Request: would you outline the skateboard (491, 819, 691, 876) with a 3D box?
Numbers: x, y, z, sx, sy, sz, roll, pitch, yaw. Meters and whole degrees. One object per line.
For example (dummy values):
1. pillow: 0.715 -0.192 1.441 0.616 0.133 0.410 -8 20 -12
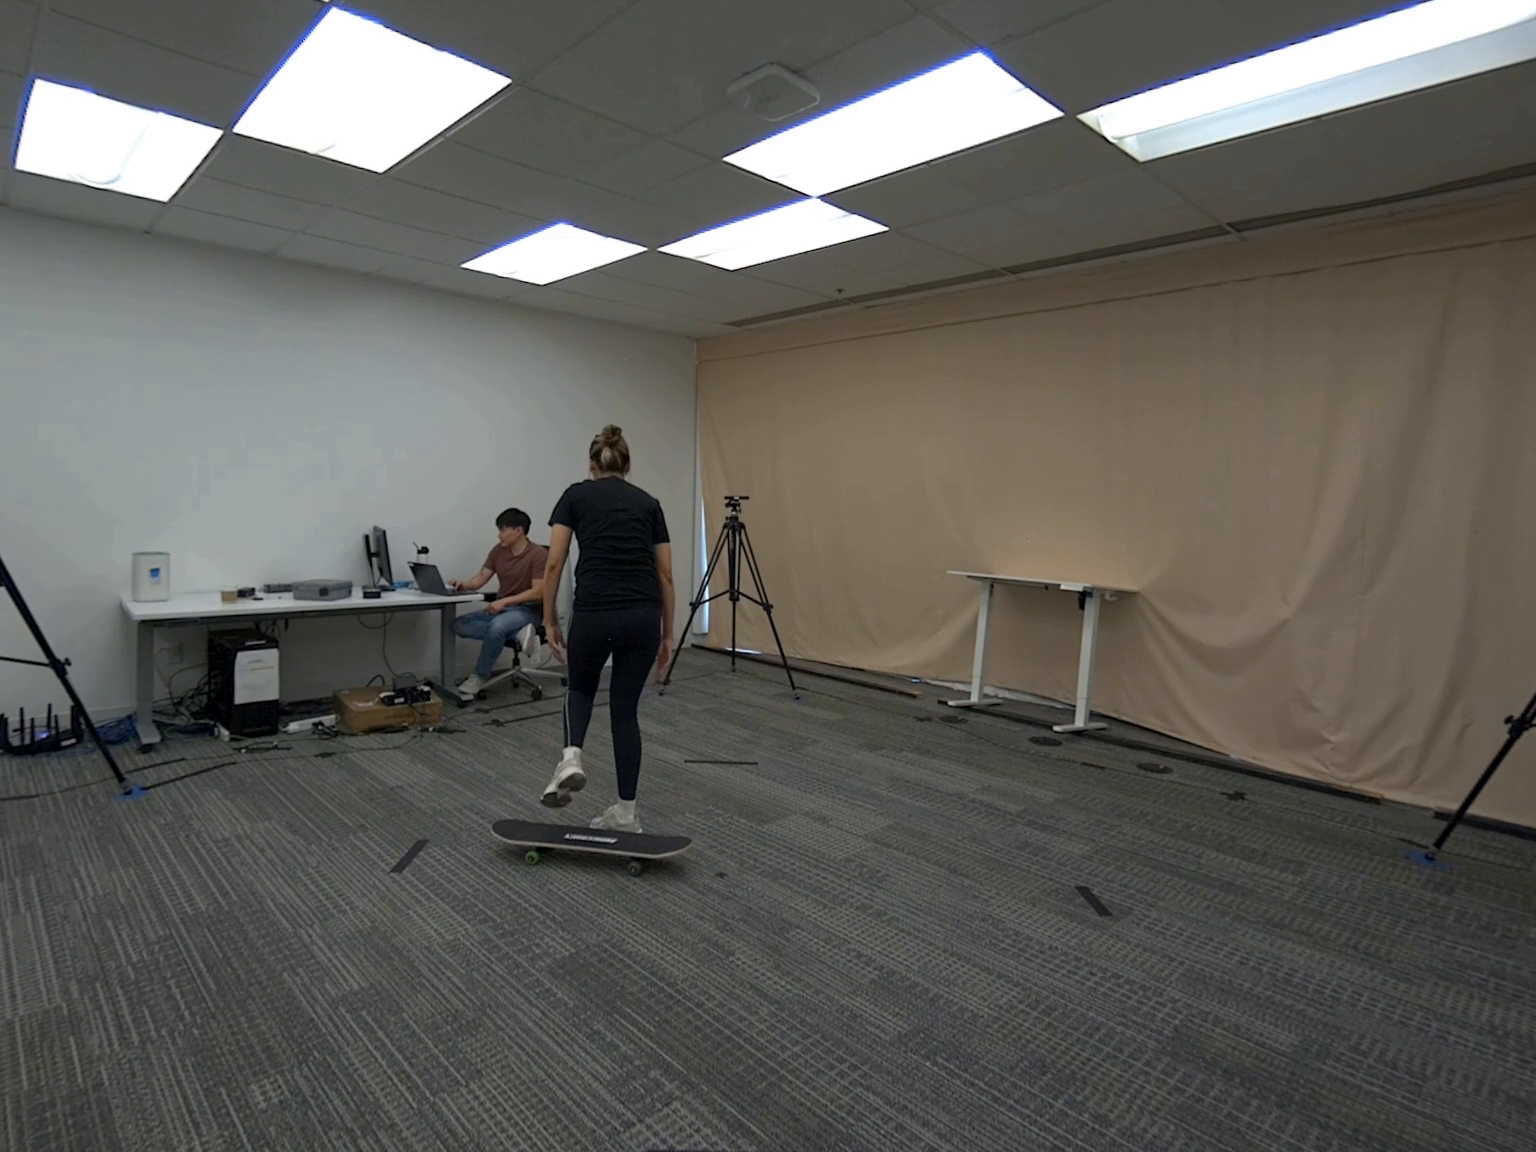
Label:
1. skateboard: -0.679 1.024 3.196 0.792 0.110 0.192 2 4 10
